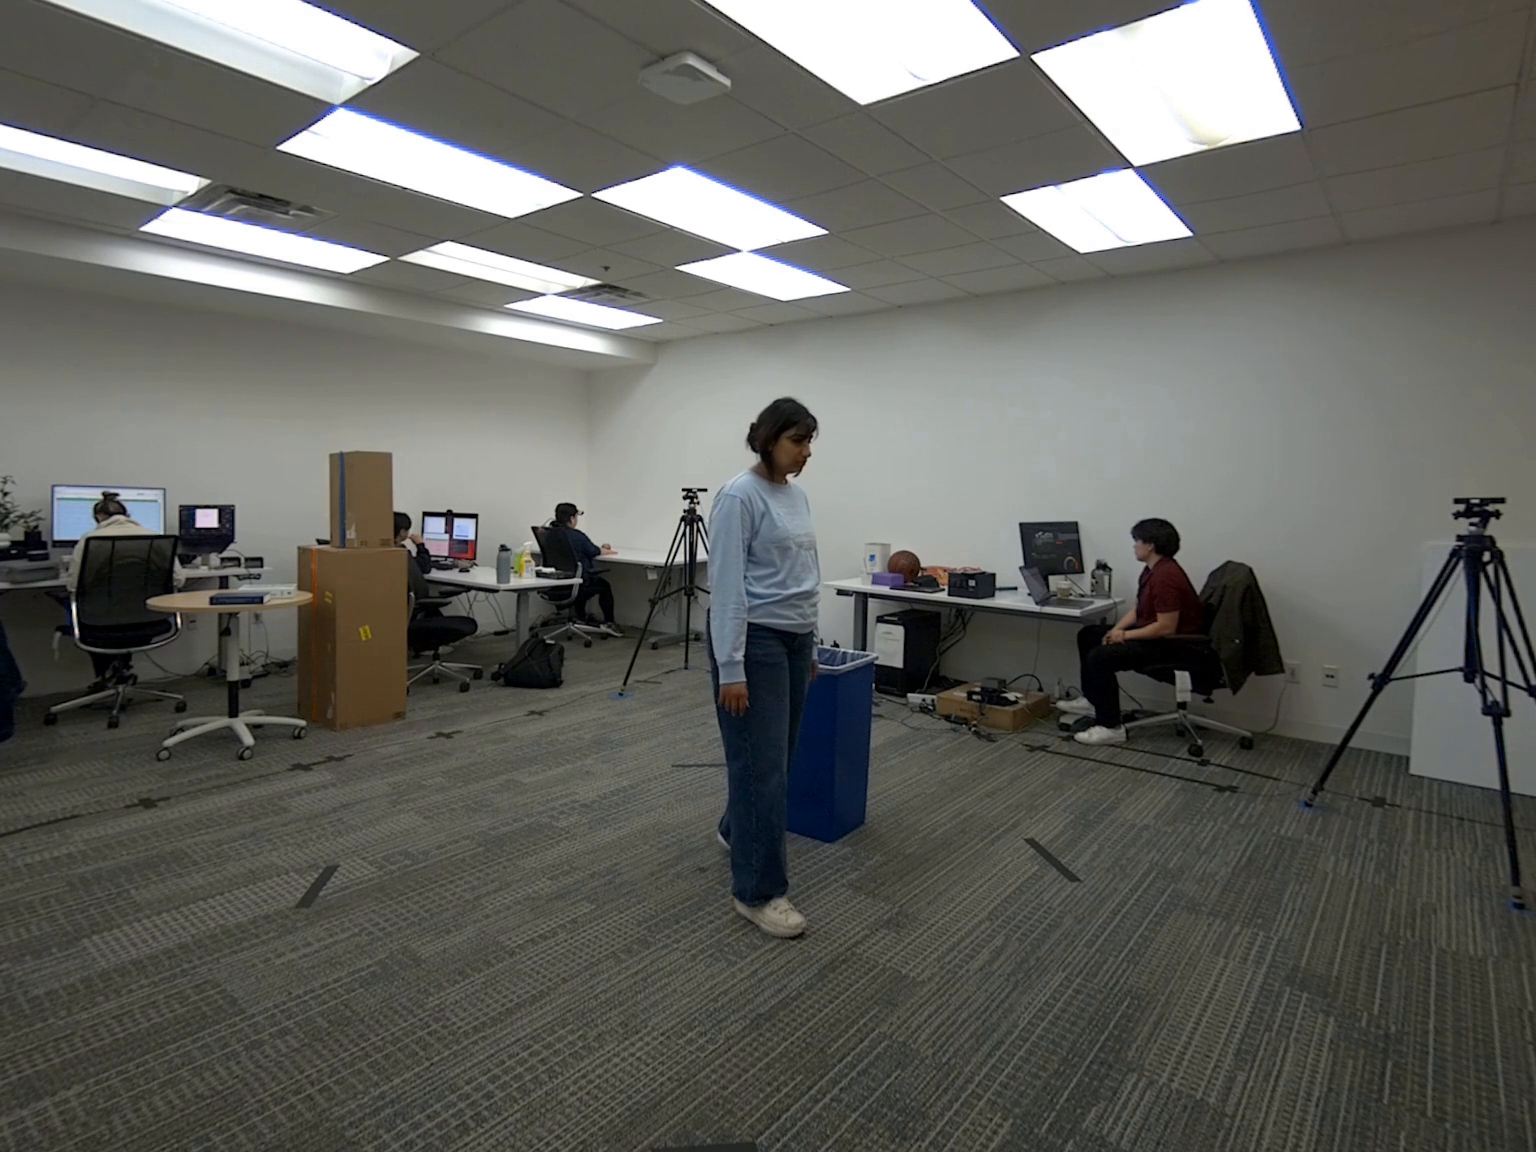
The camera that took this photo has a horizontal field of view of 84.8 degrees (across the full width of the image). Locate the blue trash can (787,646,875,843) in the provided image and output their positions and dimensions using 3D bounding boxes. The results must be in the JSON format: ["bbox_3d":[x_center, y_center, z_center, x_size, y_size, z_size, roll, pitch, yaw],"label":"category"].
[{"bbox_3d":[0.201,0.678,3.549,0.386,0.711,0.367,4,5,35],"label":"blue trash can"}]
